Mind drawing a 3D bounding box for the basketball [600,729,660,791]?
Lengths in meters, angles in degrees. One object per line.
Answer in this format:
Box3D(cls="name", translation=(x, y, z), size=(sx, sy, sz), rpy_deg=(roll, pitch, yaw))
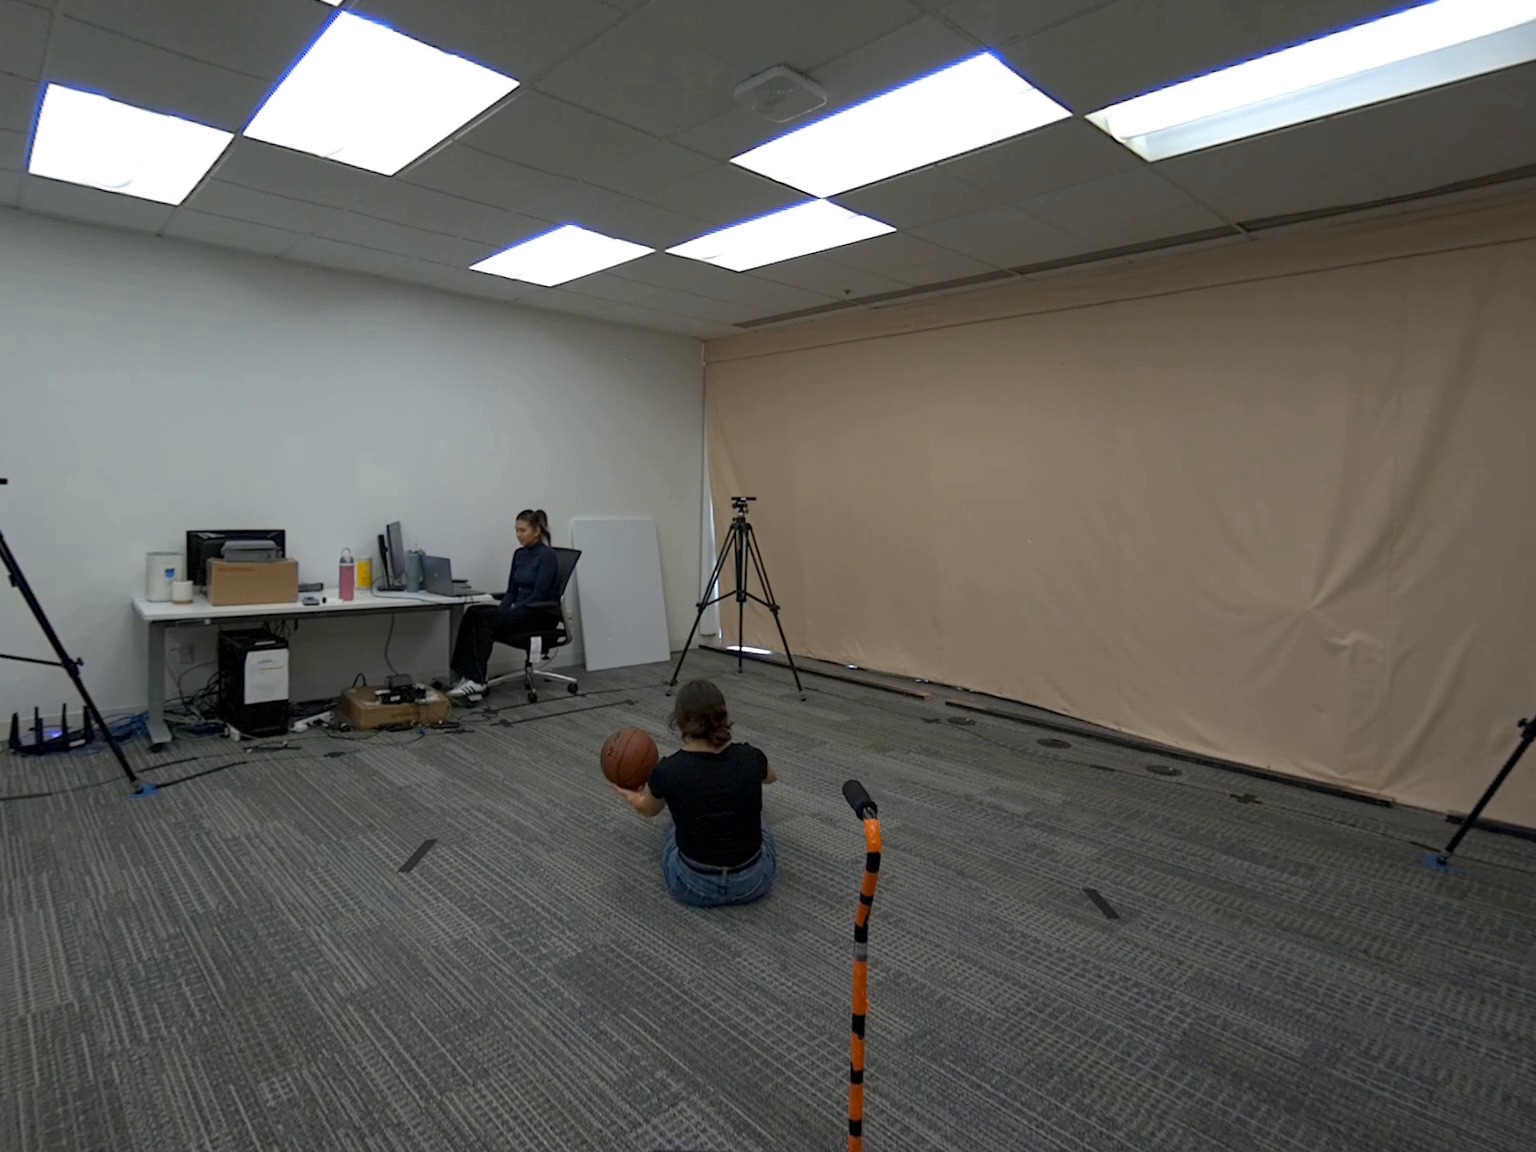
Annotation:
Box3D(cls="basketball", translation=(-0.575, 0.749, 3.436), size=(0.236, 0.235, 0.237), rpy_deg=(1, 4, -1))
